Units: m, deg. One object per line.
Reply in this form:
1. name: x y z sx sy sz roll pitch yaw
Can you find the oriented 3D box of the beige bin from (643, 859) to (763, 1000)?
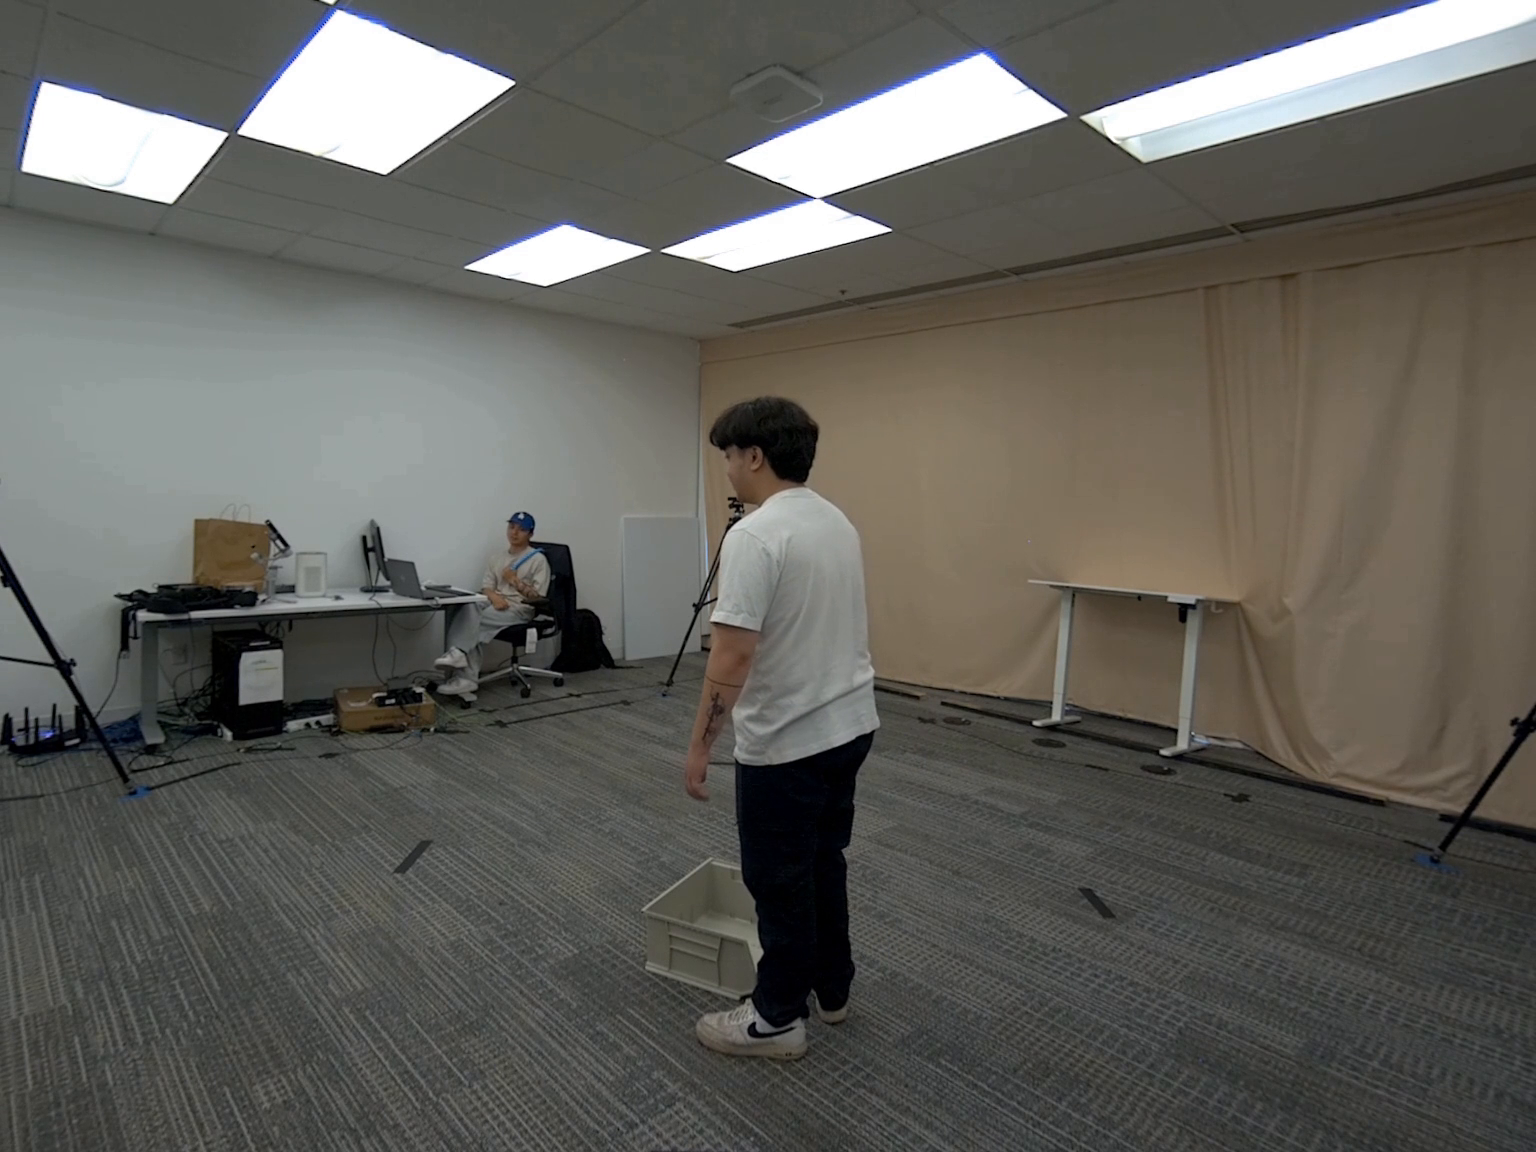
1. beige bin: -0.121 1.067 2.568 0.385 0.188 0.415 2 6 26
